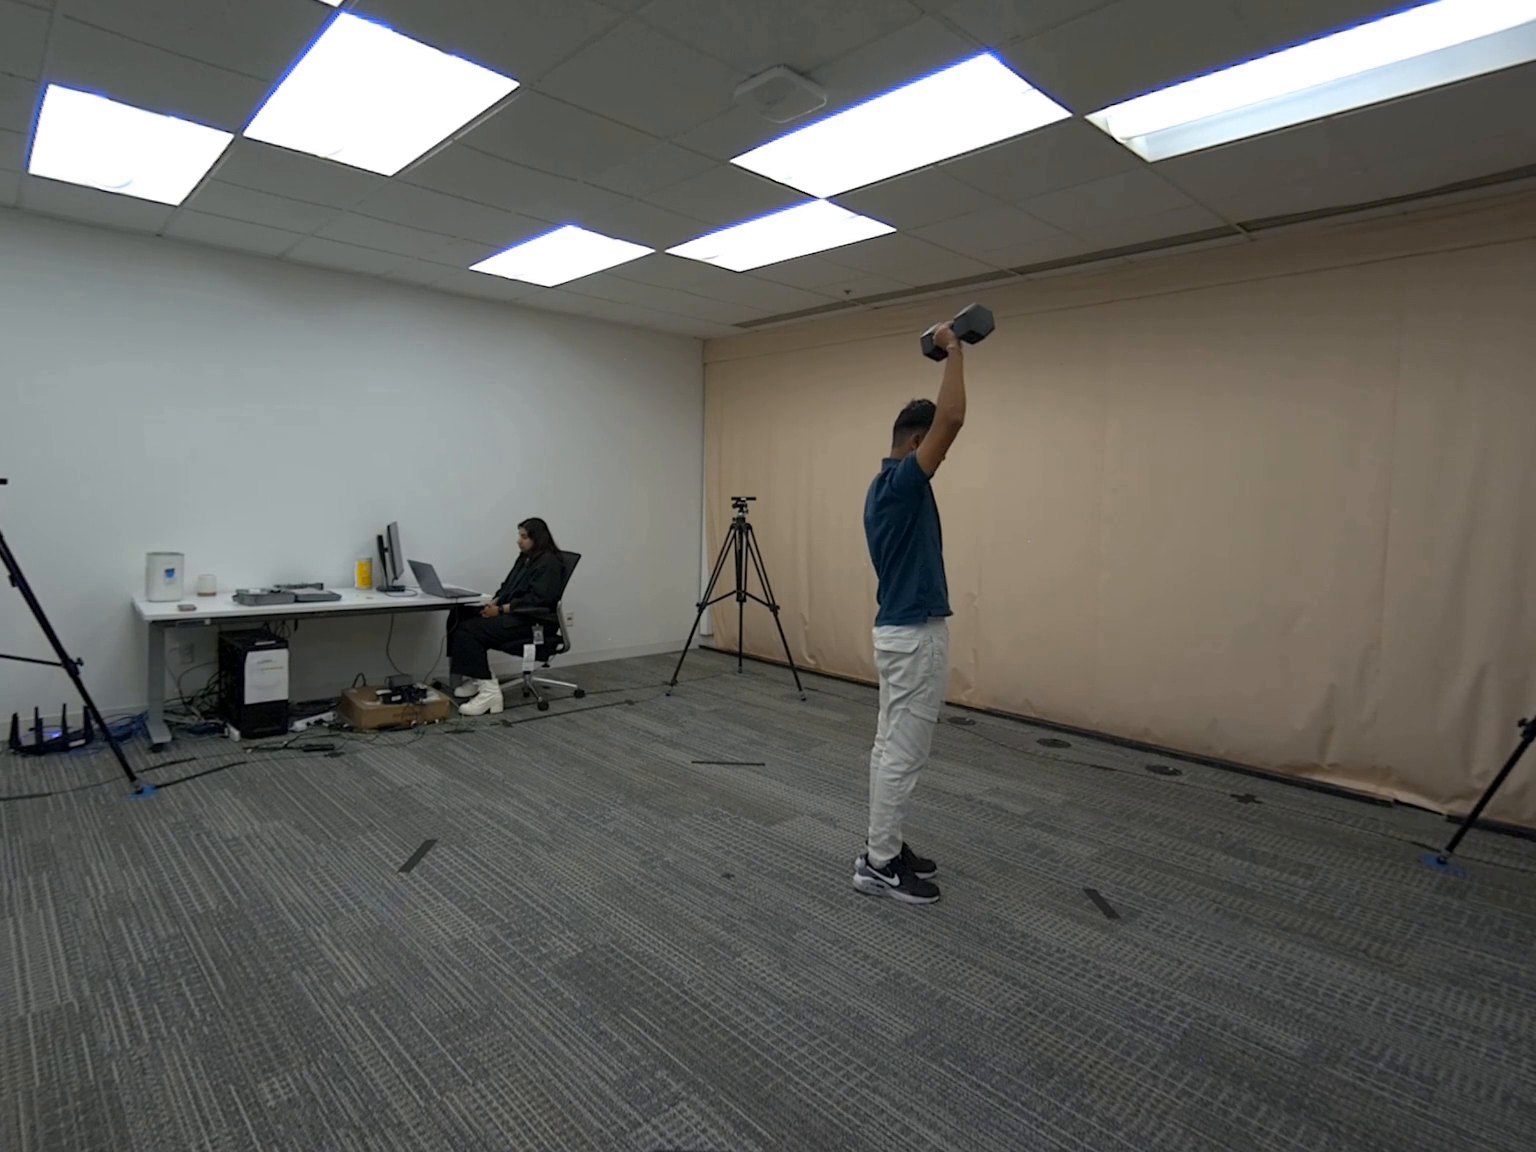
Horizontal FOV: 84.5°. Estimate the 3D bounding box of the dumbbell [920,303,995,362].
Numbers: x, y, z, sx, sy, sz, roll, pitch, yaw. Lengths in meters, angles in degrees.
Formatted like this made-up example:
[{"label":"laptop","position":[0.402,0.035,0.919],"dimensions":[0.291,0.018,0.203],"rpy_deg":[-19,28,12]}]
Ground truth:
[{"label":"dumbbell","position":[0.611,-0.802,2.790],"dimensions":[0.121,0.109,0.296],"rpy_deg":[19,-8,-16]}]
